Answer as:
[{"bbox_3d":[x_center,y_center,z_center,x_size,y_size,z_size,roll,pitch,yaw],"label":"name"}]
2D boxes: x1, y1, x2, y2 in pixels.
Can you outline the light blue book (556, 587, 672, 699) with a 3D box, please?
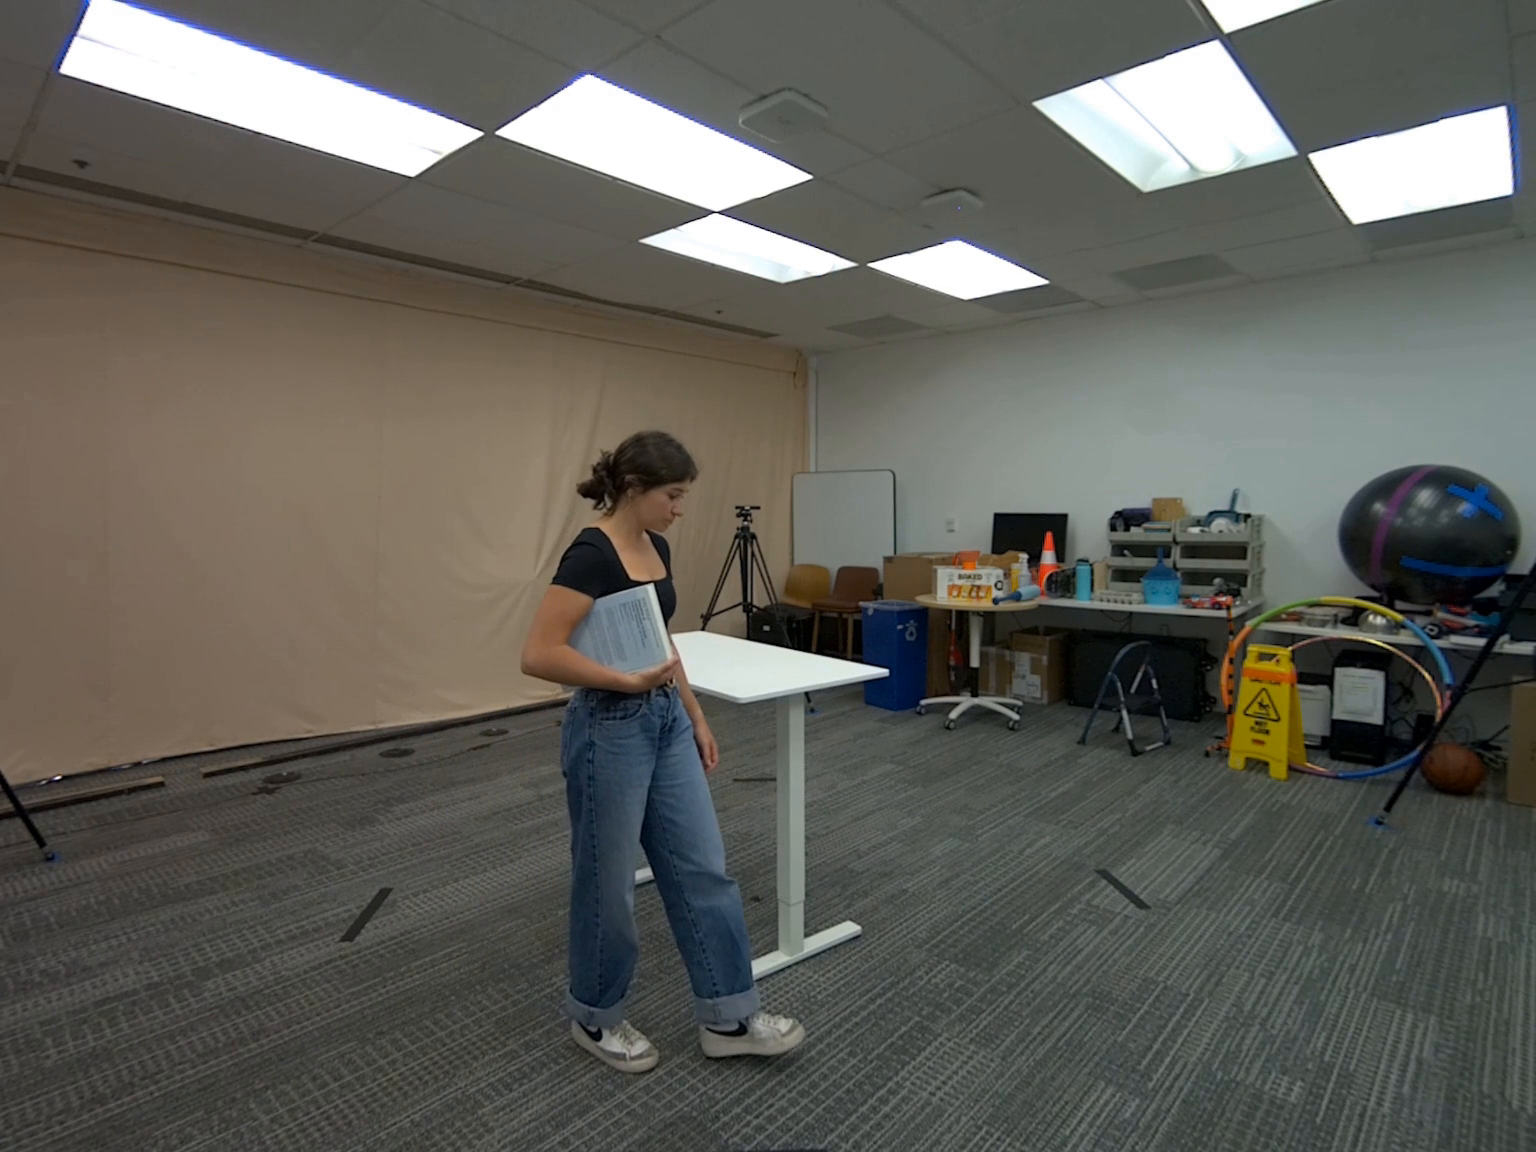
[{"bbox_3d":[-0.370,0.148,1.934,0.263,0.191,0.058,-15,0,9],"label":"light blue book"}]
